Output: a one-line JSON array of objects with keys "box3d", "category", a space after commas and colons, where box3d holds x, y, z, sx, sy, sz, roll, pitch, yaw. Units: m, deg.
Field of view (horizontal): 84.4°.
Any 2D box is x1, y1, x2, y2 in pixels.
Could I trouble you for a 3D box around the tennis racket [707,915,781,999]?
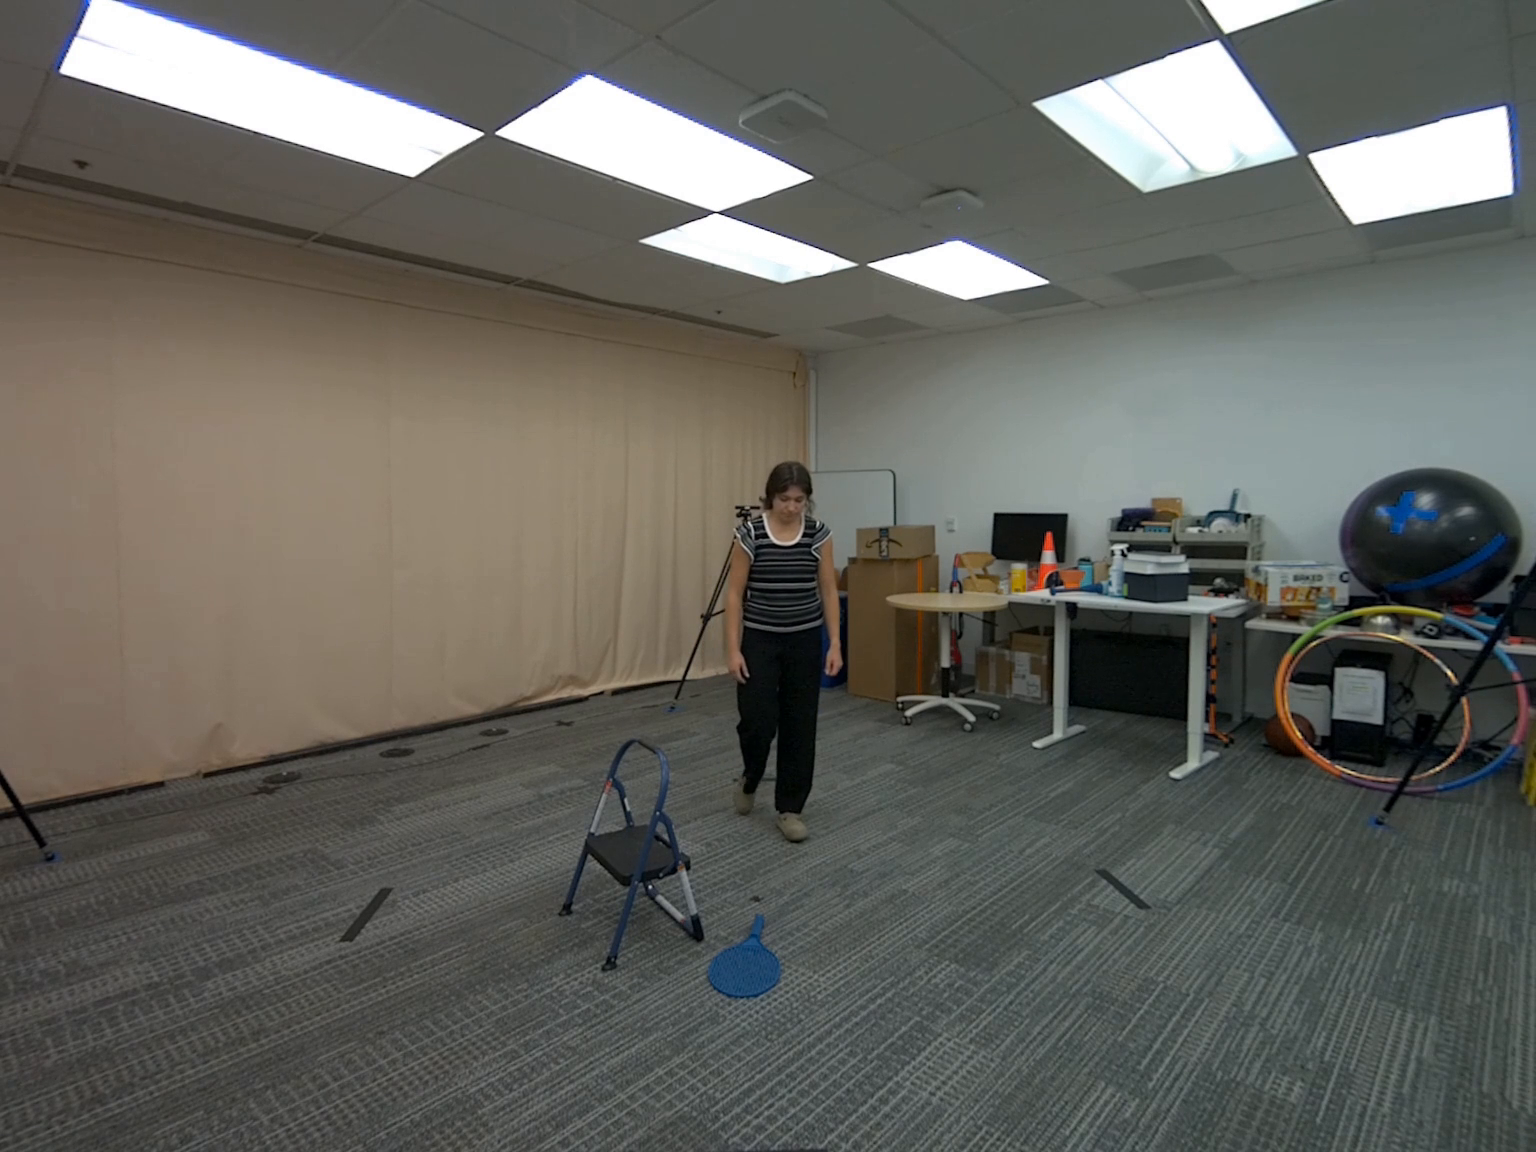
[{"box3d": [-0.060, 1.154, 2.594, 0.217, 0.031, 0.428, 1, 7, 12], "category": "tennis racket"}]
